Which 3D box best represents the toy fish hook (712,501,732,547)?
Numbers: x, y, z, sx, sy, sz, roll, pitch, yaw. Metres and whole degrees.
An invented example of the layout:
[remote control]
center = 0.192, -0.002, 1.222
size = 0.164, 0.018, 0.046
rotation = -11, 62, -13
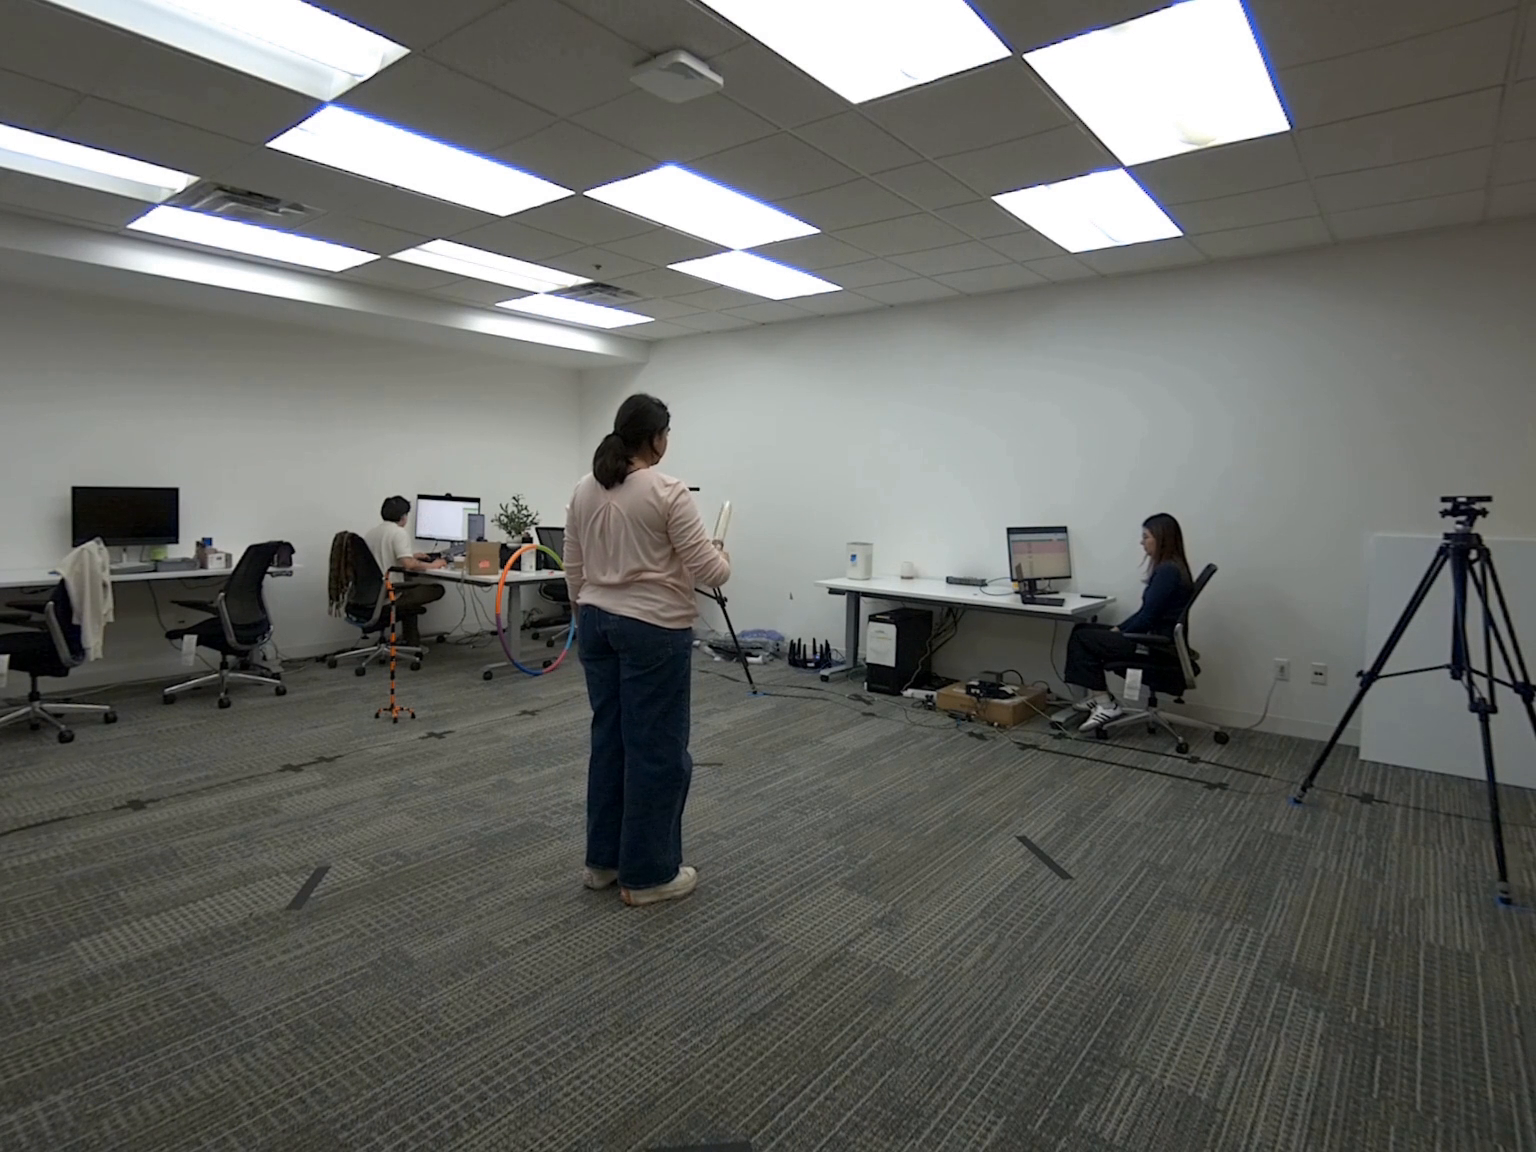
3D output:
[toy fish hook]
center = -0.205, -0.128, 3.275
size = 0.048, 0.220, 0.517
rotation = 13, 34, -4
